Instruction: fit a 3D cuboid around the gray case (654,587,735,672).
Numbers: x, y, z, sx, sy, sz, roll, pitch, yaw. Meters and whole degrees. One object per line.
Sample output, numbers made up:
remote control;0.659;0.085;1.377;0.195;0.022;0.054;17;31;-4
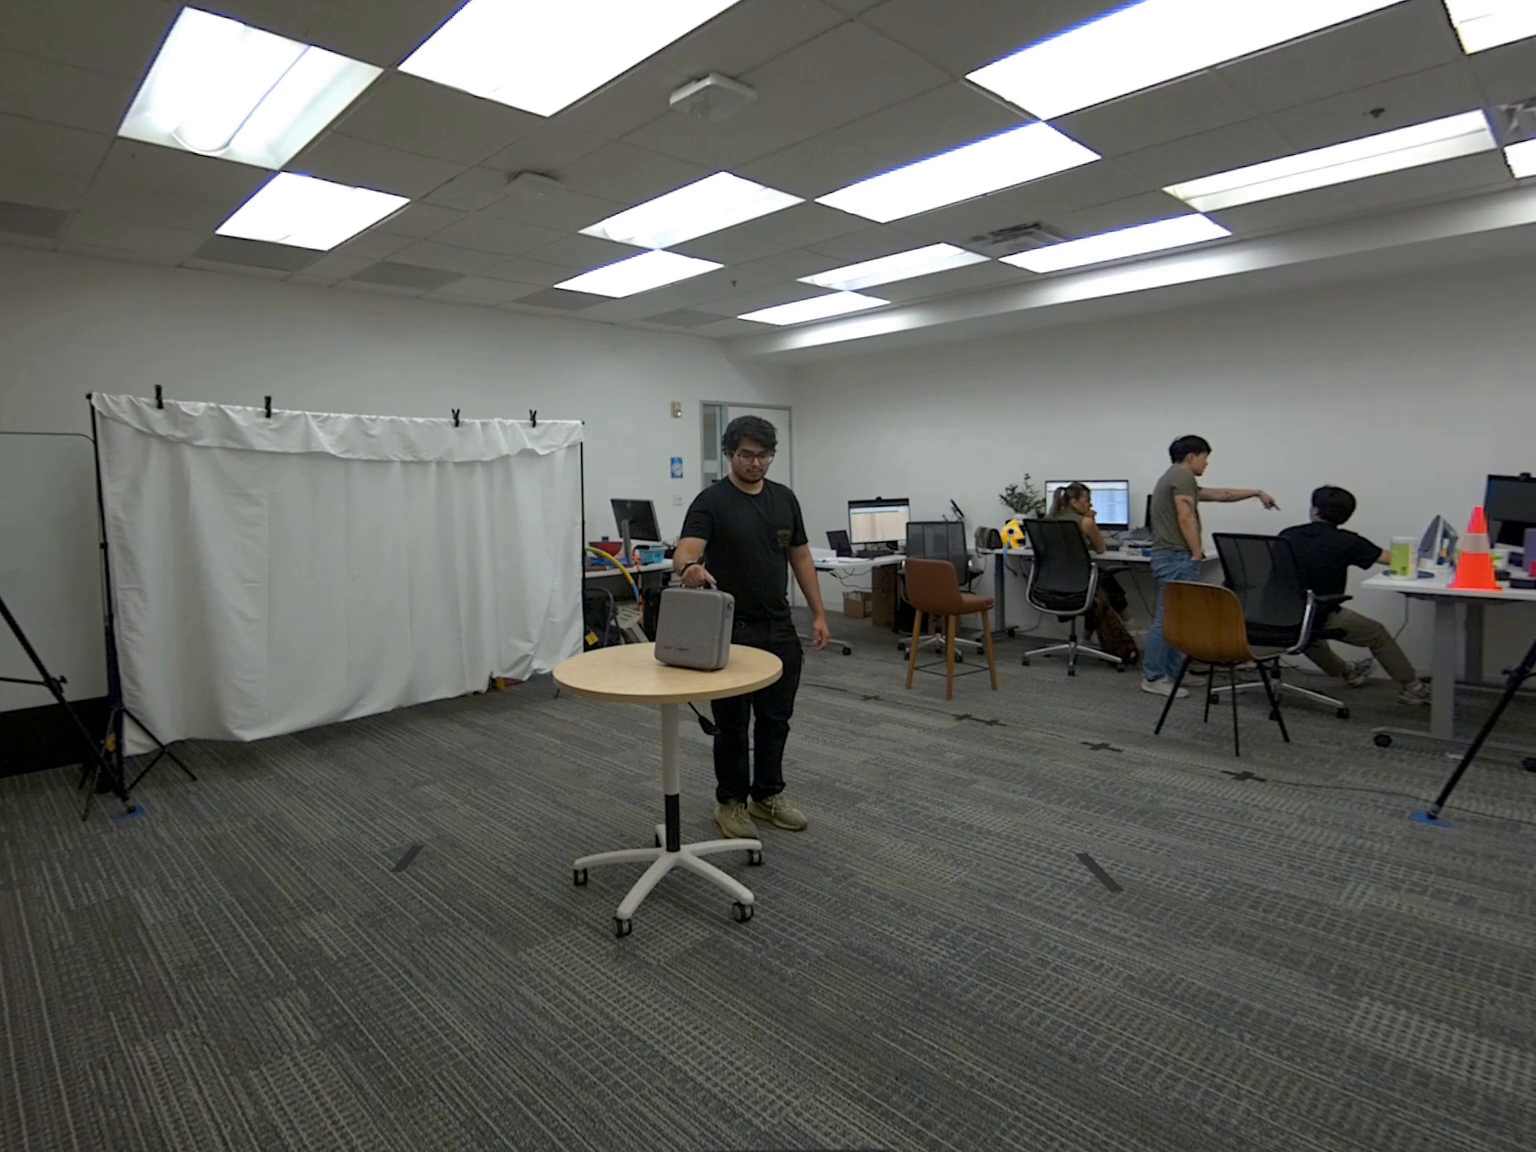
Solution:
gray case;-0.246;0.172;2.849;0.264;0.262;0.101;3;-6;32
